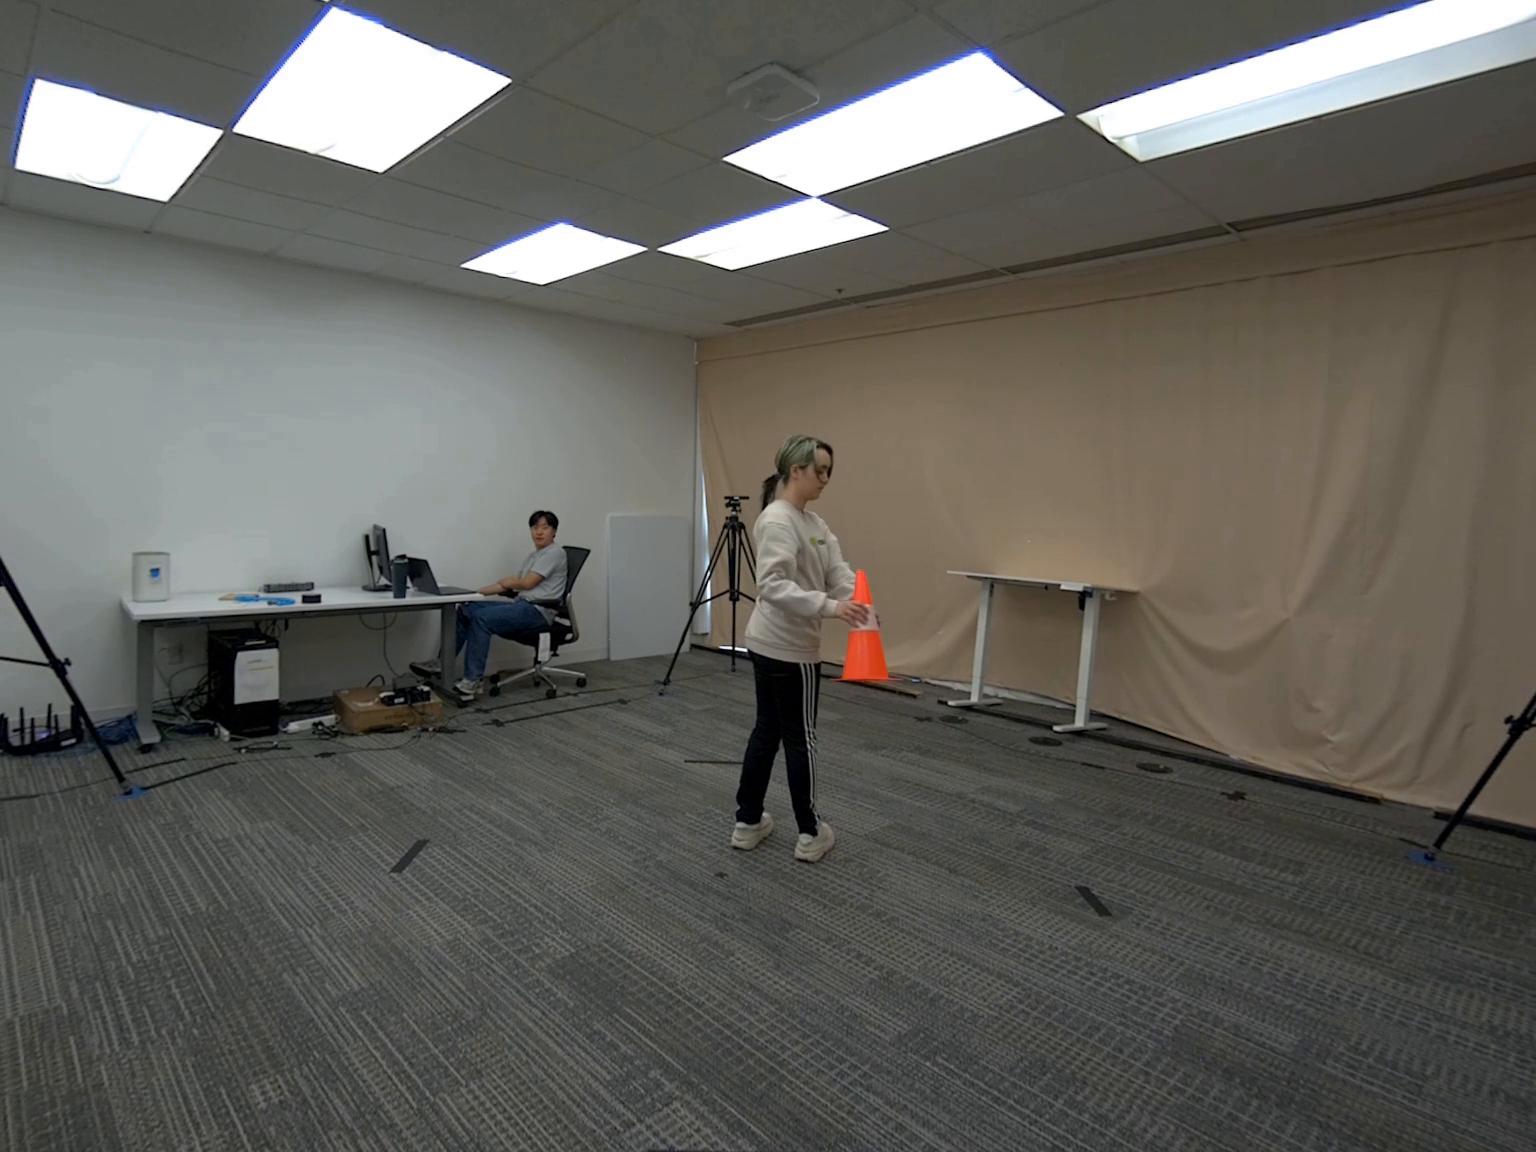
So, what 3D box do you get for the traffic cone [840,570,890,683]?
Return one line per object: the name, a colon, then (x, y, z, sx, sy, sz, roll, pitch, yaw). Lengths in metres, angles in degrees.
traffic cone: (0.321, 0.179, 2.953, 0.203, 0.387, 0.204, 0, -10, -15)
